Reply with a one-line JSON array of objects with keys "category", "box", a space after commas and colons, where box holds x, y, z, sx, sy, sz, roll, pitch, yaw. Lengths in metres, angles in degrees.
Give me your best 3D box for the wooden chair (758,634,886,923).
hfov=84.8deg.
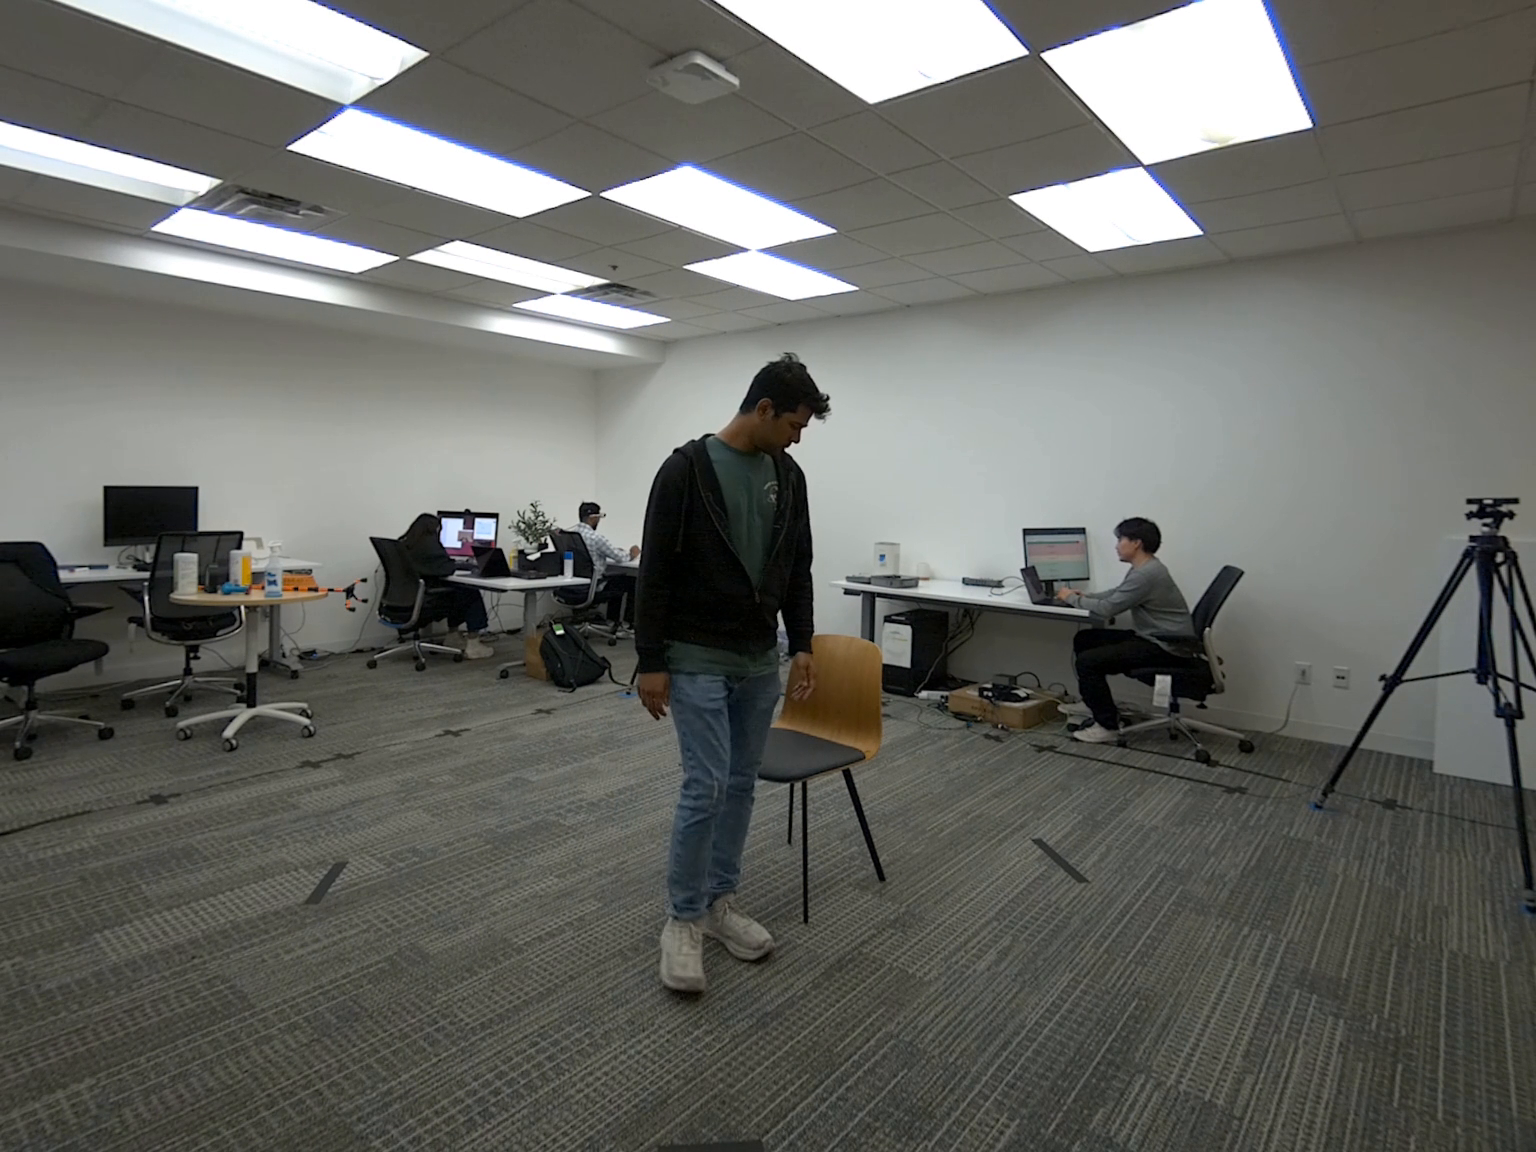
[{"category": "wooden chair", "box": [0.101, 0.658, 3.011, 0.494, 0.877, 0.506, 5, 1, 44]}]
